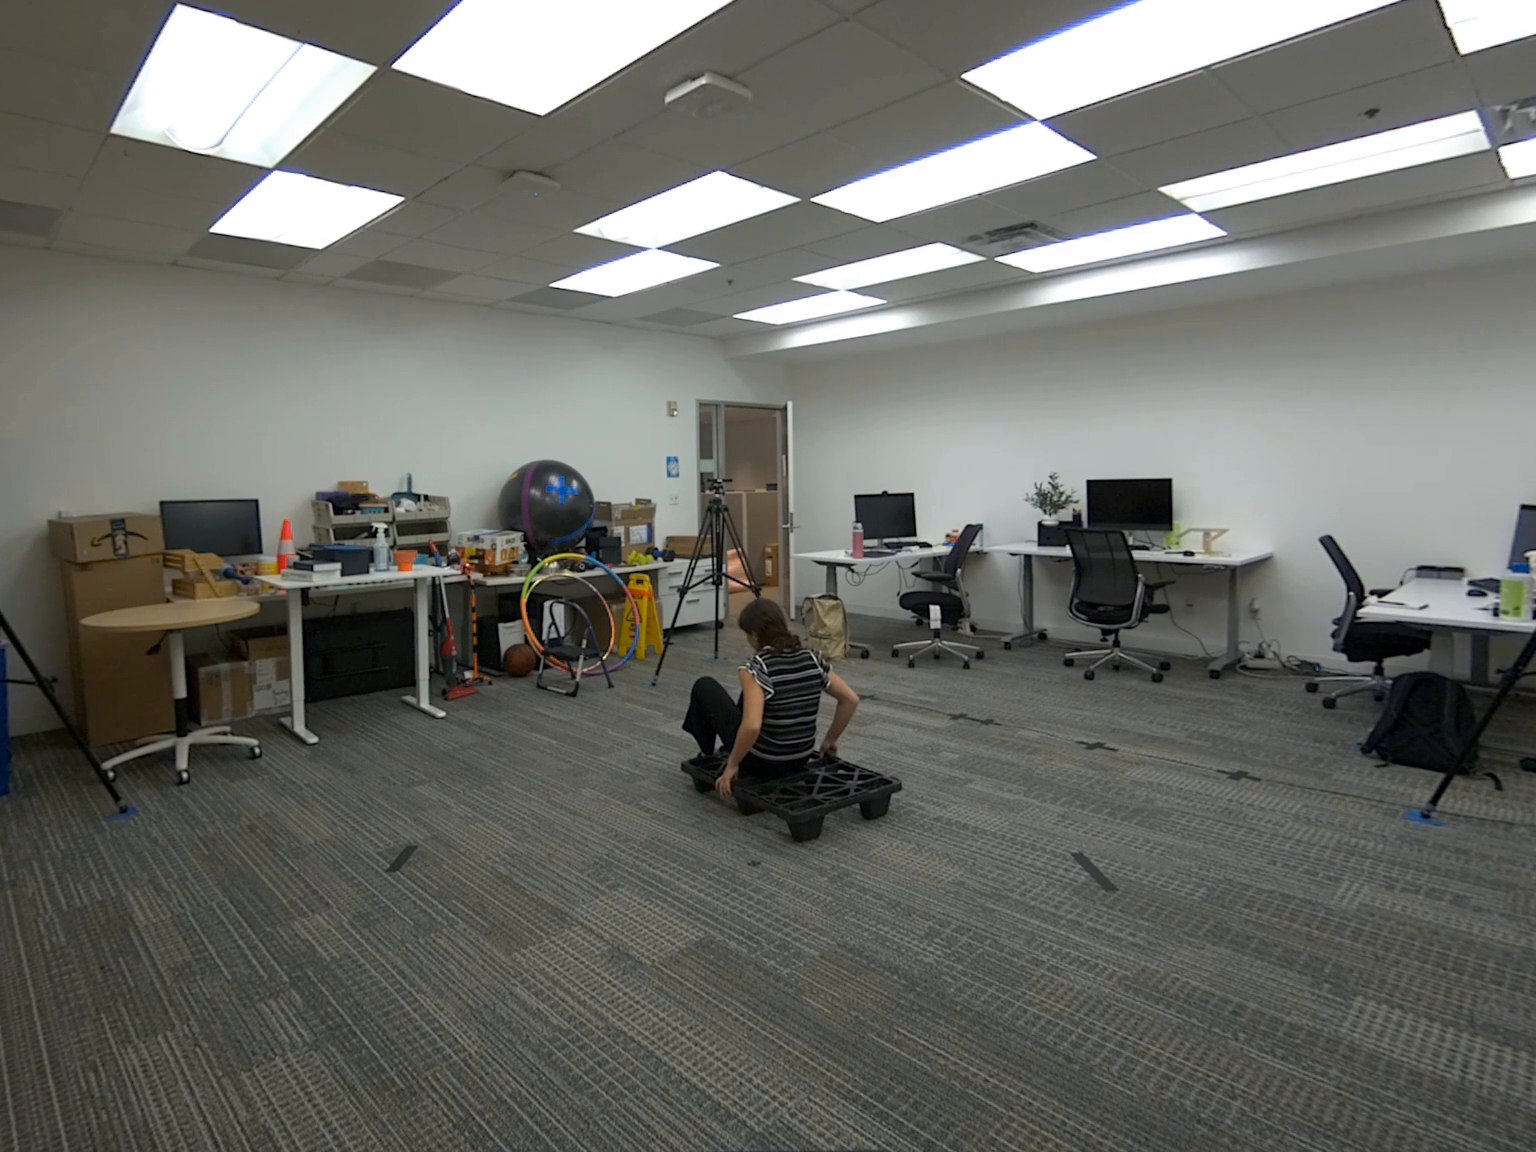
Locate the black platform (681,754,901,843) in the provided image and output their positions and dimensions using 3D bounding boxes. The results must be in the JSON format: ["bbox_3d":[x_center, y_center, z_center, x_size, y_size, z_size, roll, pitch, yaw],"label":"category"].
[{"bbox_3d":[0.084,0.907,3.691,0.589,0.143,0.830,-4,6,-36],"label":"black platform"}]
